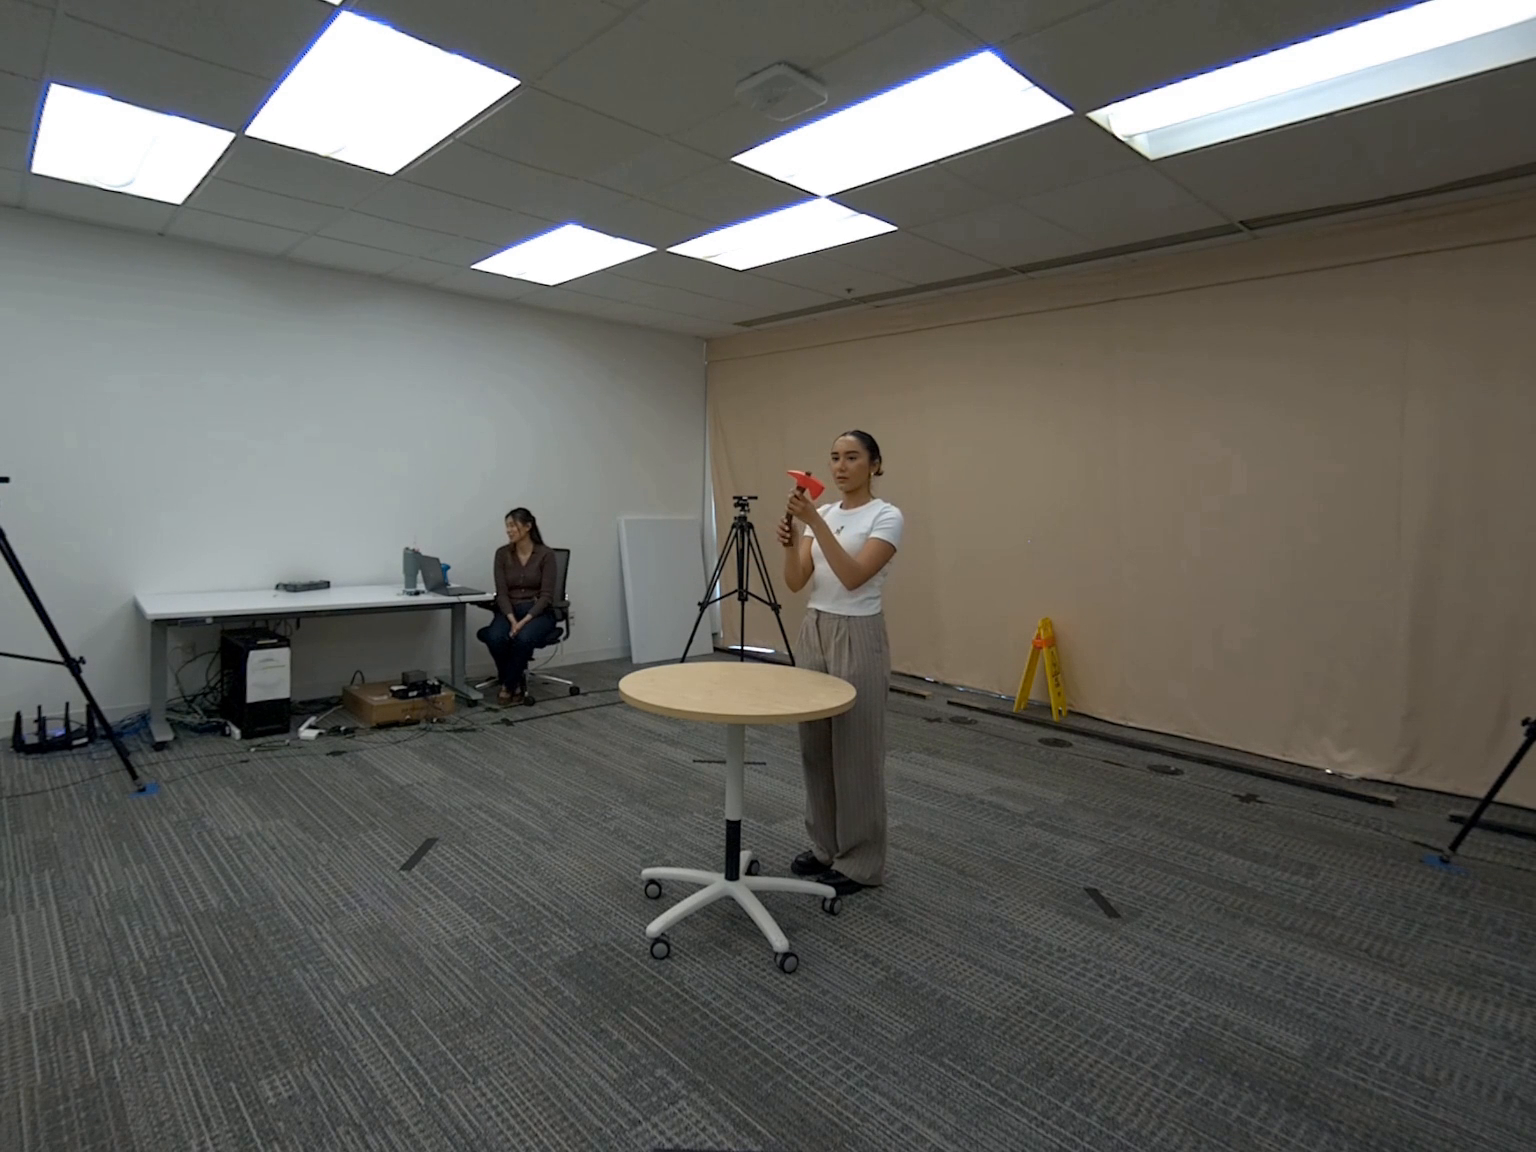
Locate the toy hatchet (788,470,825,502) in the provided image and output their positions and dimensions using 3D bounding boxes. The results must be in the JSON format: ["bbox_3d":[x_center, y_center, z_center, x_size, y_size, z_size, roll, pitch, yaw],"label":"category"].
[{"bbox_3d":[0.108,-0.221,2.797,0.132,0.266,0.030,7,21,12],"label":"toy hatchet"}]
